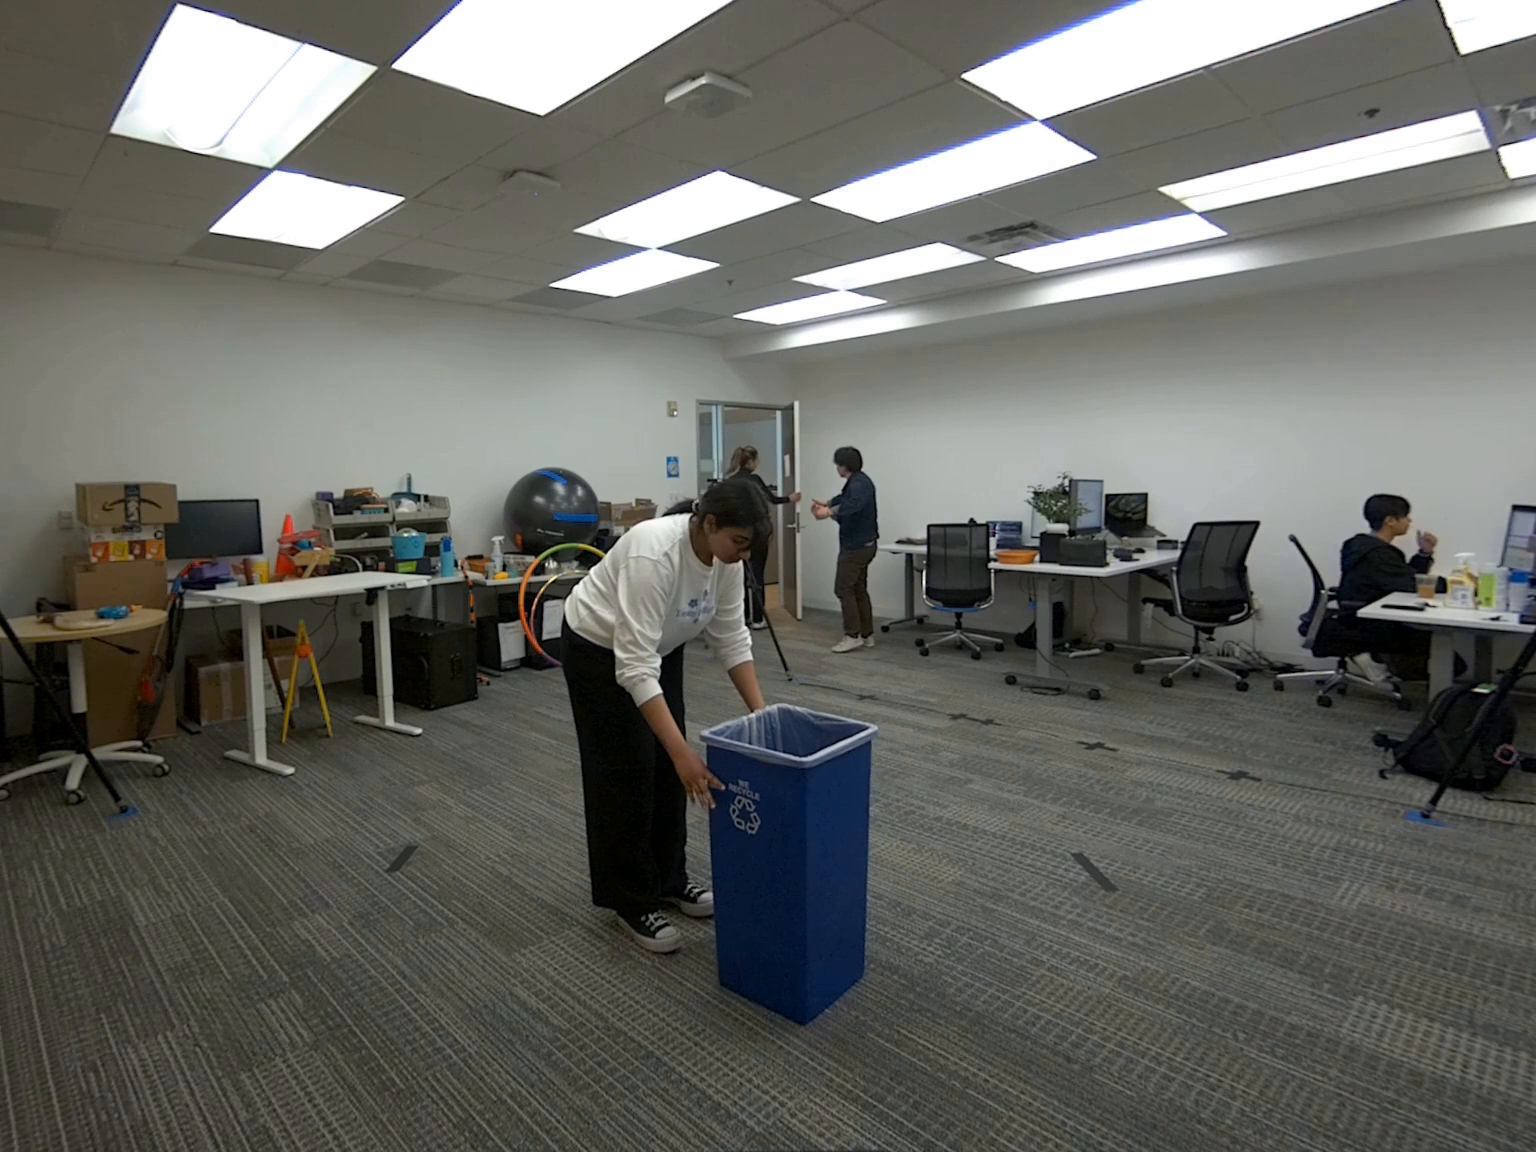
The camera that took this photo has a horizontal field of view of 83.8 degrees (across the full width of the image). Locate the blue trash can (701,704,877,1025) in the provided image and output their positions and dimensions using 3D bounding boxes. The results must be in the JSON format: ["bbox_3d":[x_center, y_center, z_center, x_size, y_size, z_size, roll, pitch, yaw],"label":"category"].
[{"bbox_3d":[0.079,0.774,2.357,0.385,0.710,0.368,3,6,38],"label":"blue trash can"}]
